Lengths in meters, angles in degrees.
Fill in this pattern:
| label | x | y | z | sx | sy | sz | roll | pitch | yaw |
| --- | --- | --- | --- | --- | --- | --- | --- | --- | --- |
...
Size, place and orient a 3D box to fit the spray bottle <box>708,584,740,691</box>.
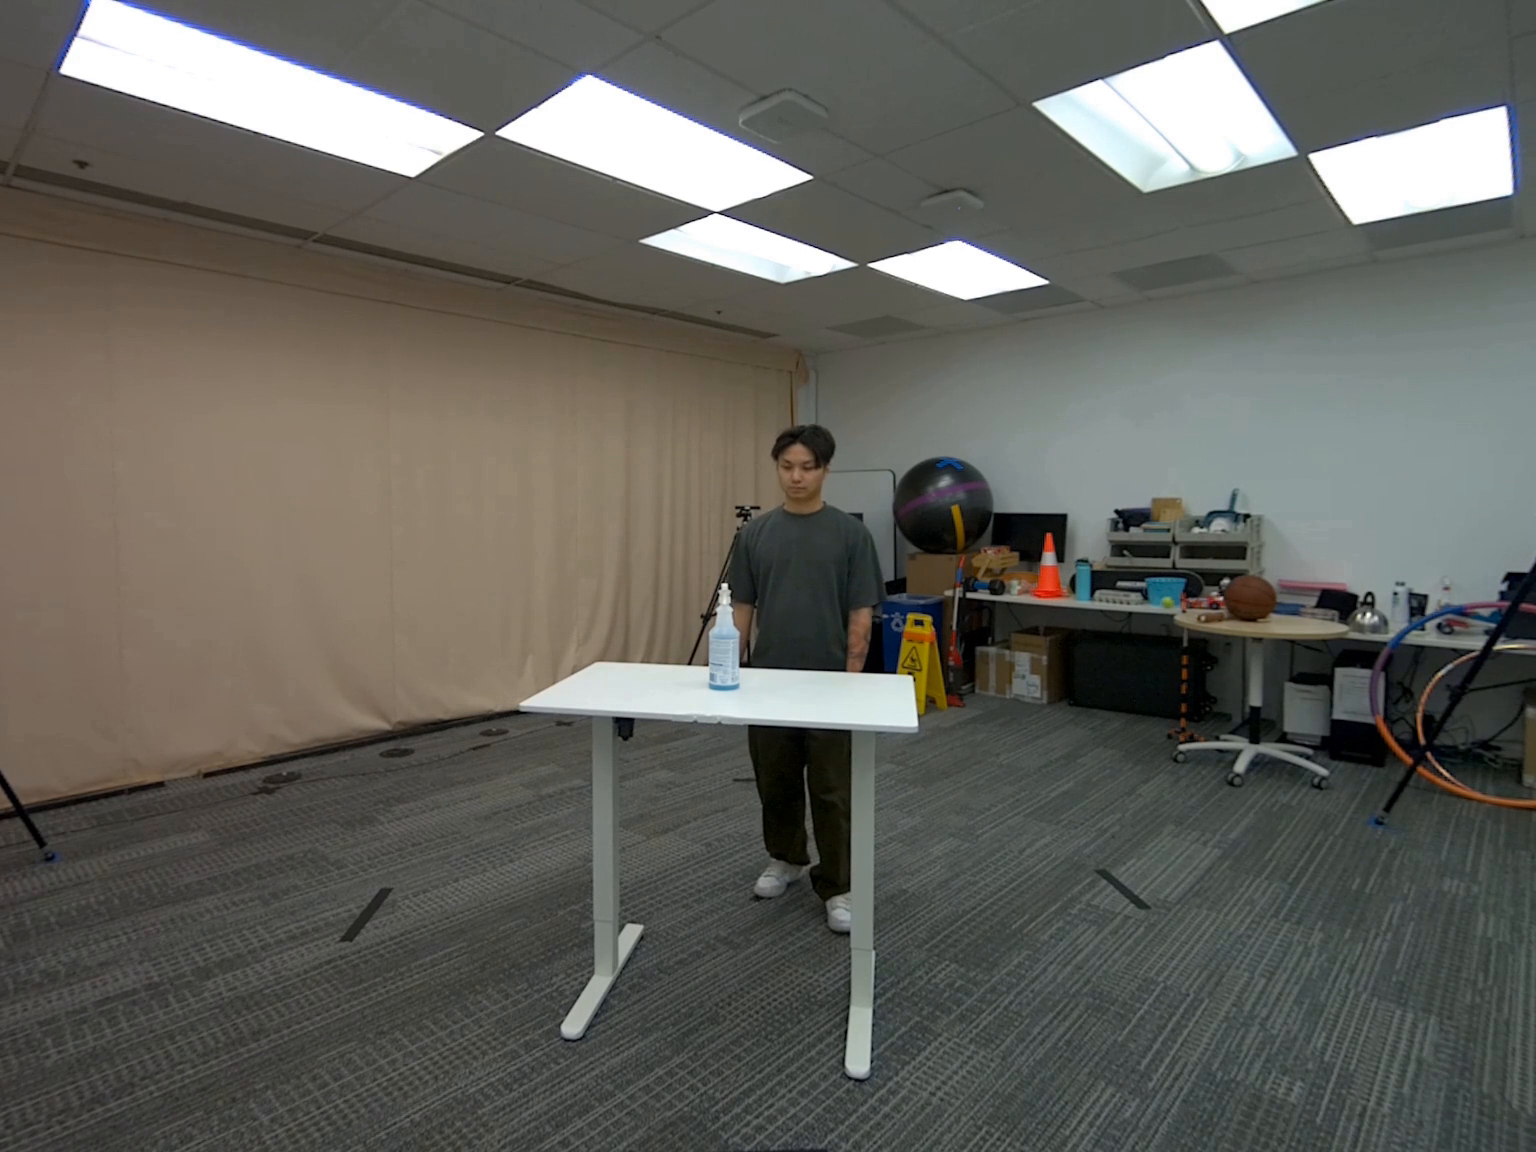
| label | x | y | z | sx | sy | sz | roll | pitch | yaw |
| --- | --- | --- | --- | --- | --- | --- | --- | --- | --- |
| spray bottle | -0.121 | 0.169 | 2.362 | 0.089 | 0.296 | 0.088 | 6 | 5 | 24 |
